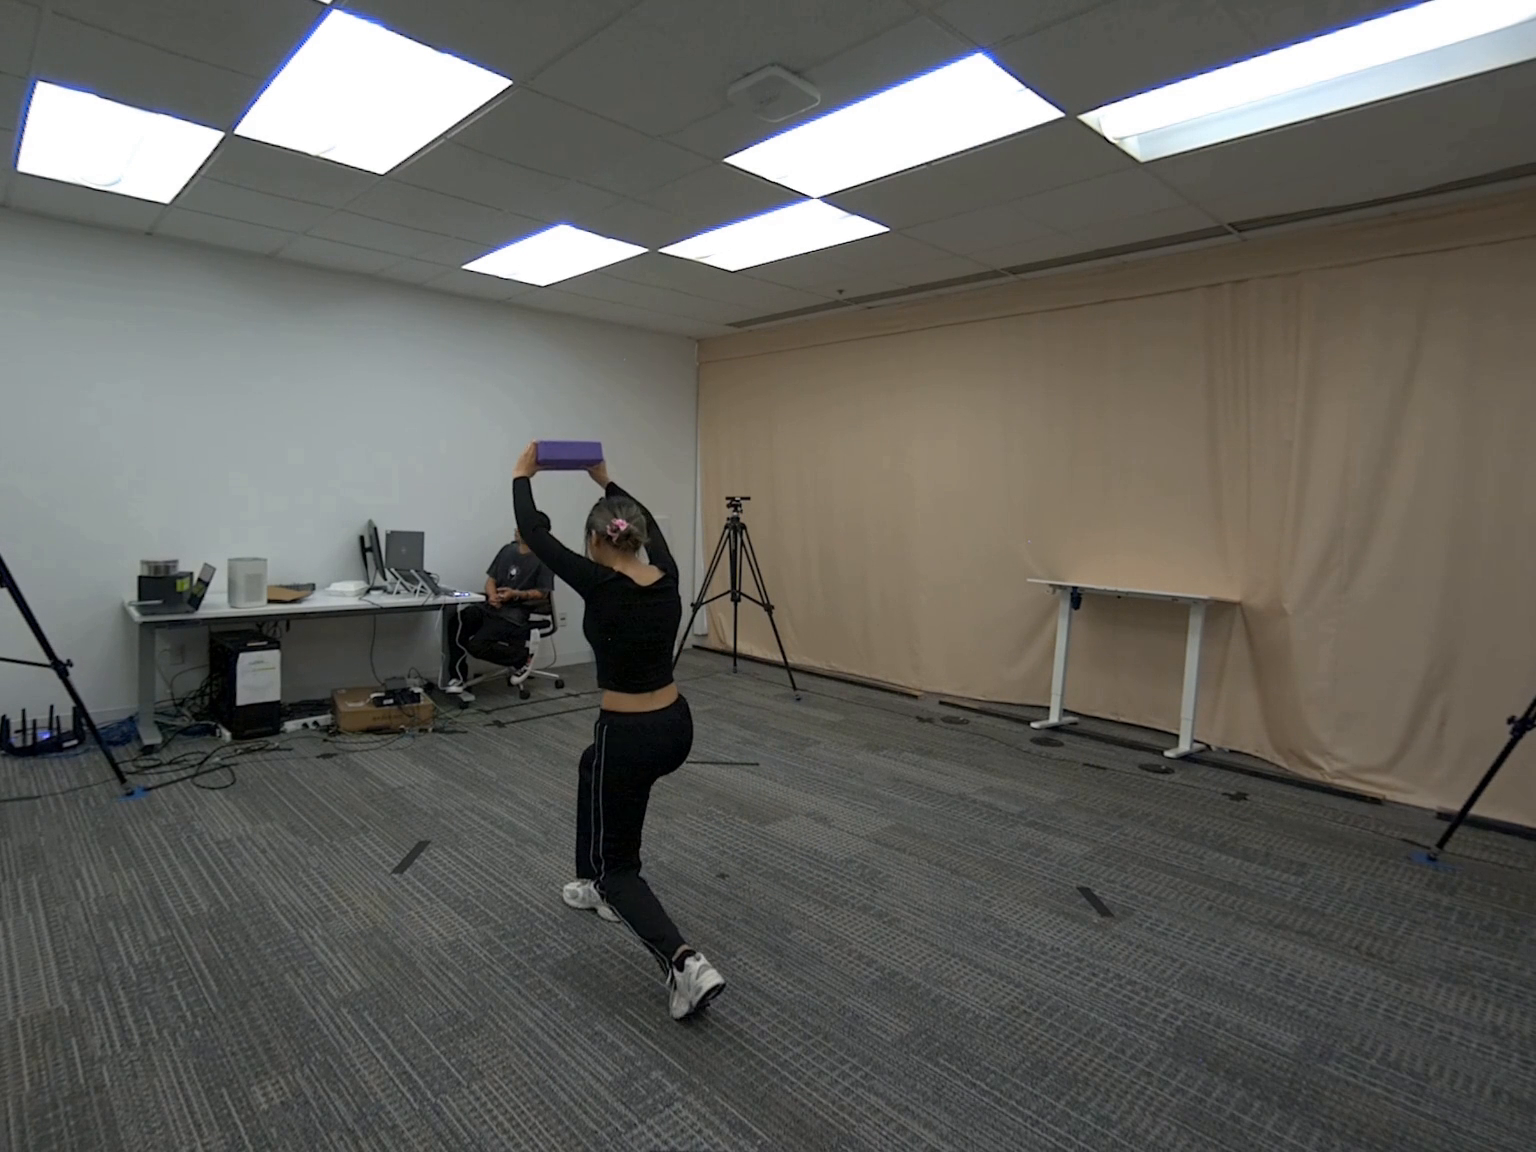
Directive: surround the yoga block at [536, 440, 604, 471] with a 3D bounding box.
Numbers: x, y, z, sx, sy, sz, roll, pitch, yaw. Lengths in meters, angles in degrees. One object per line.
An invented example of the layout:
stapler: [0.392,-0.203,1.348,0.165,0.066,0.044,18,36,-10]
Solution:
yoga block: [-0.712,-0.417,2.888,0.224,0.077,0.151,-6,-4,-37]
